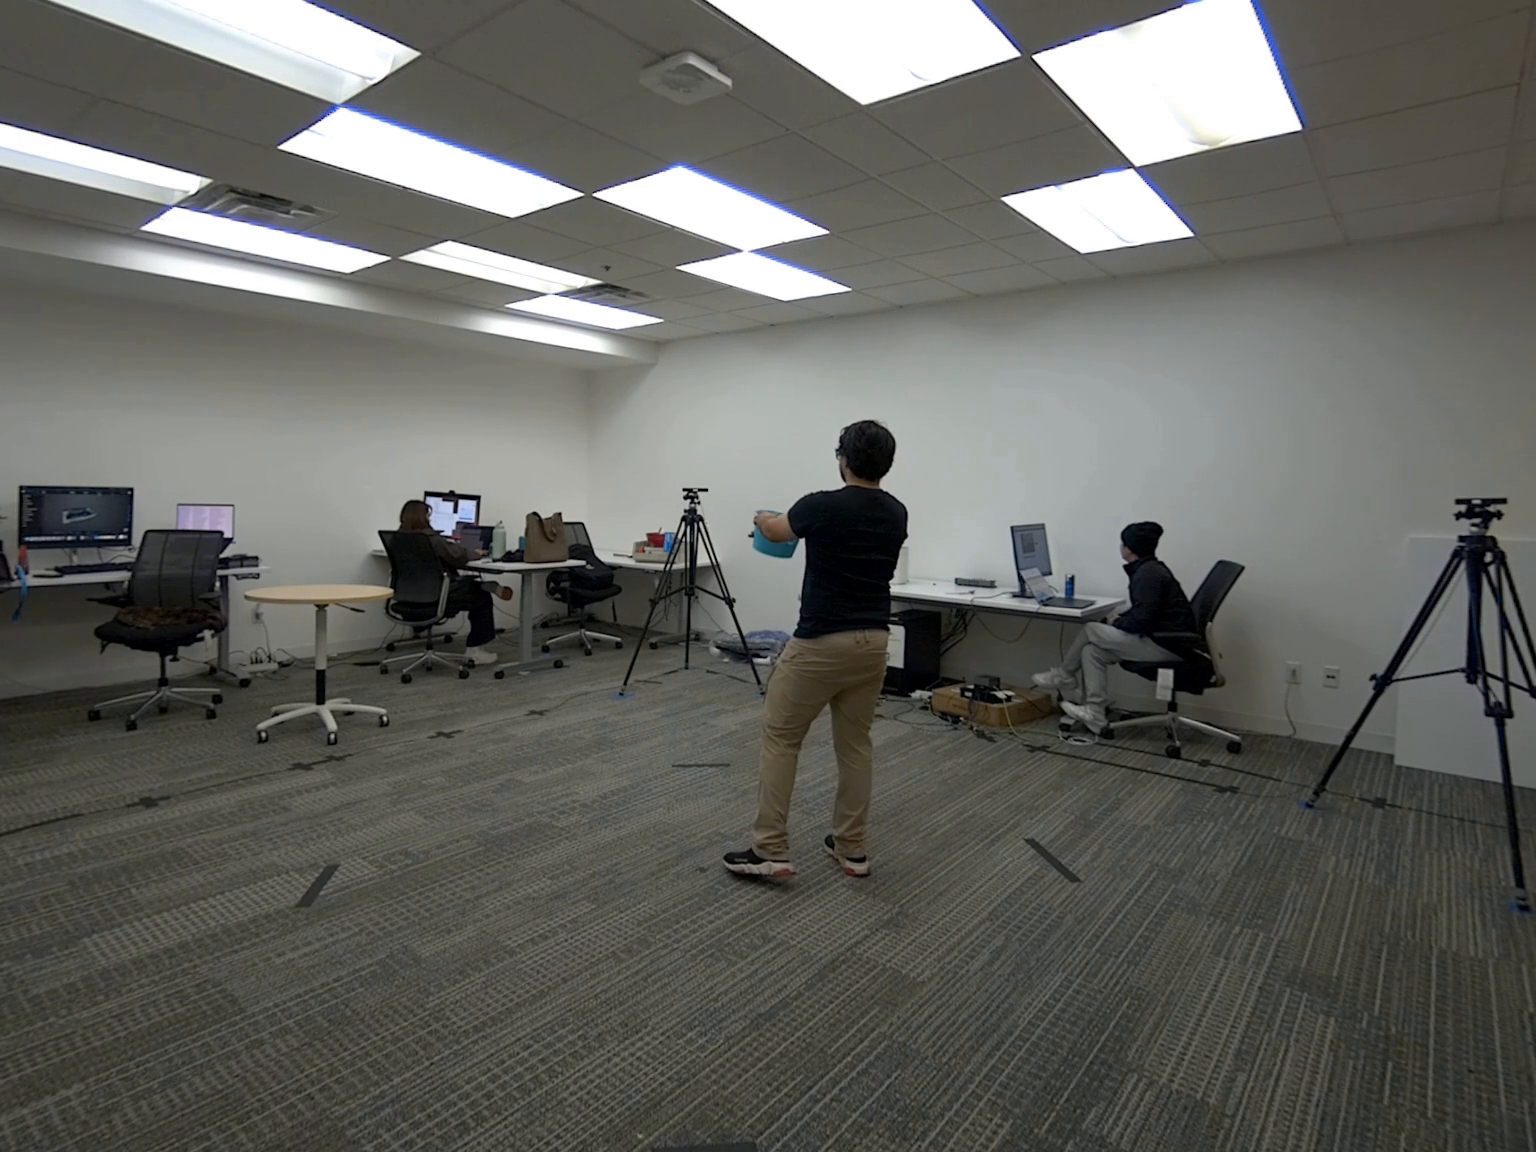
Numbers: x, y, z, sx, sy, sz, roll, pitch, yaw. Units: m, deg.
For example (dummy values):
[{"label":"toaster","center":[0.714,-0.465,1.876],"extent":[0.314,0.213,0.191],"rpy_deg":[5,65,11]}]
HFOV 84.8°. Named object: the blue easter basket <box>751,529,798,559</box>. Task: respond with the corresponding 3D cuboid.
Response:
[{"label":"blue easter basket","center":[0.035,-0.175,3.713],"extent":[0.242,0.154,0.247],"rpy_deg":[11,15,-5]}]
